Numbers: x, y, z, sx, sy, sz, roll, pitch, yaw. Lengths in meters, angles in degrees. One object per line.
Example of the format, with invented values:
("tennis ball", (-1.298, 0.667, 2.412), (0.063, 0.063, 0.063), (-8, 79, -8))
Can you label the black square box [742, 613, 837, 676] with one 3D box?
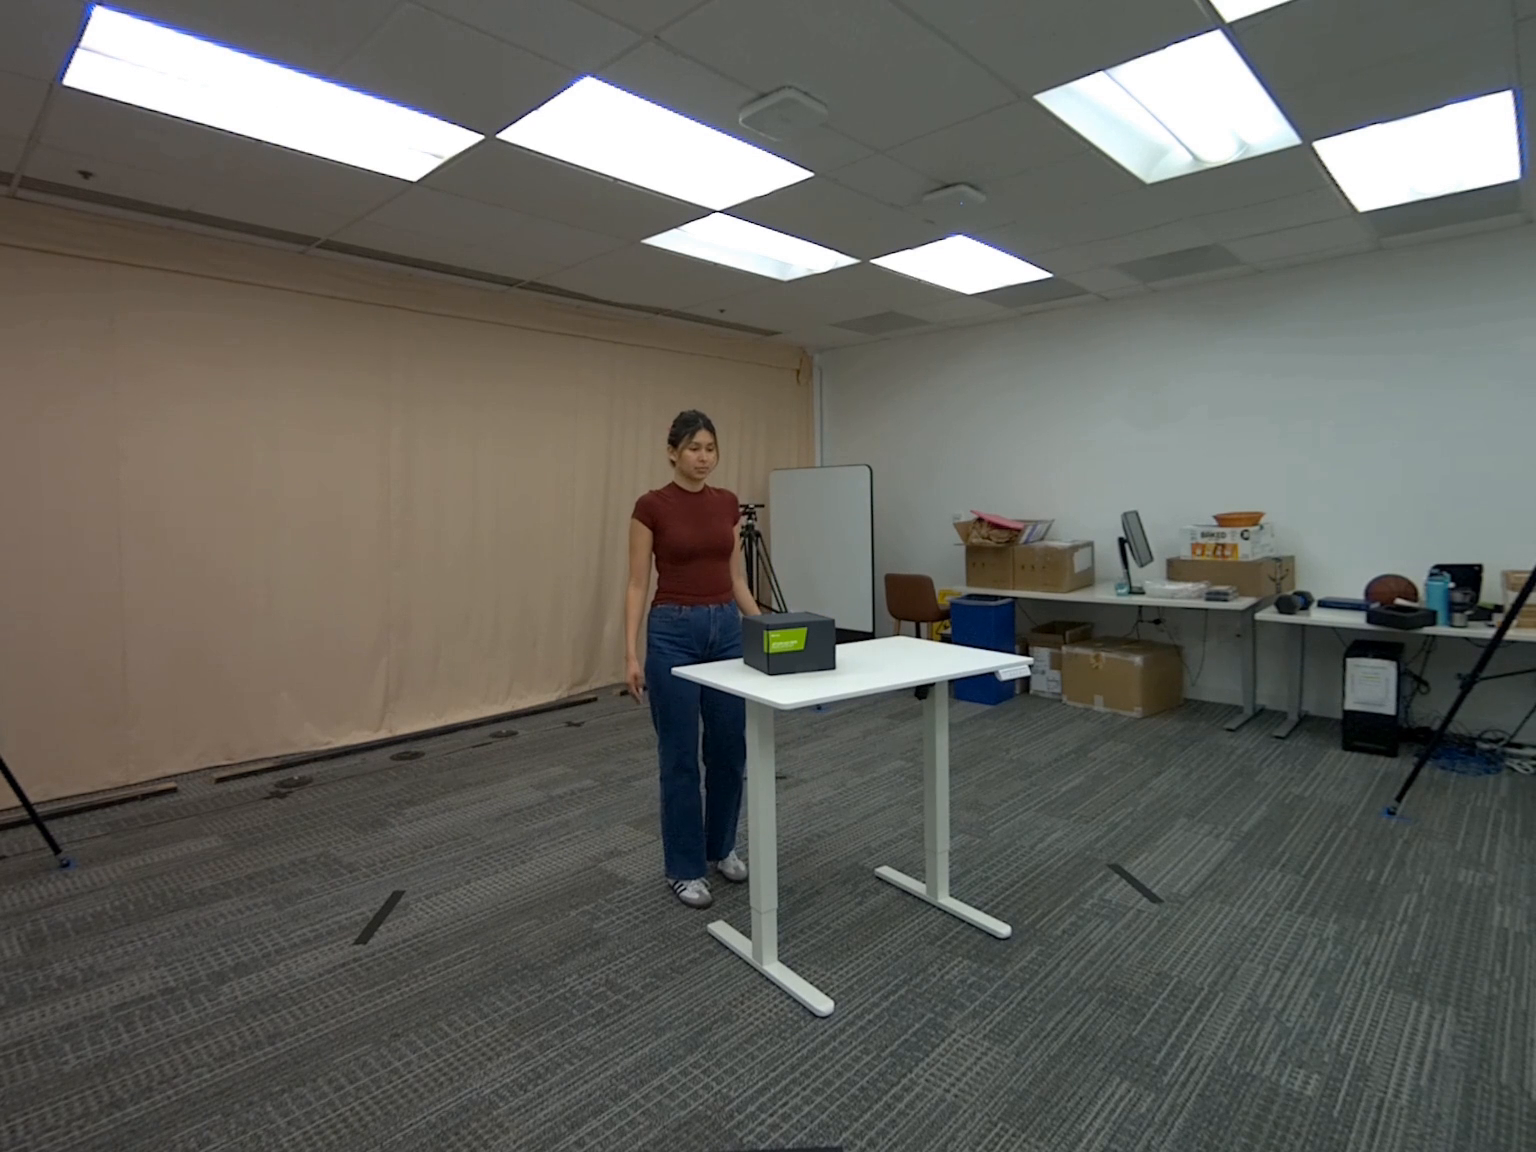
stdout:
("black square box", (0.065, 0.206, 2.643), (0.223, 0.155, 0.222), (-3, 4, -20))
